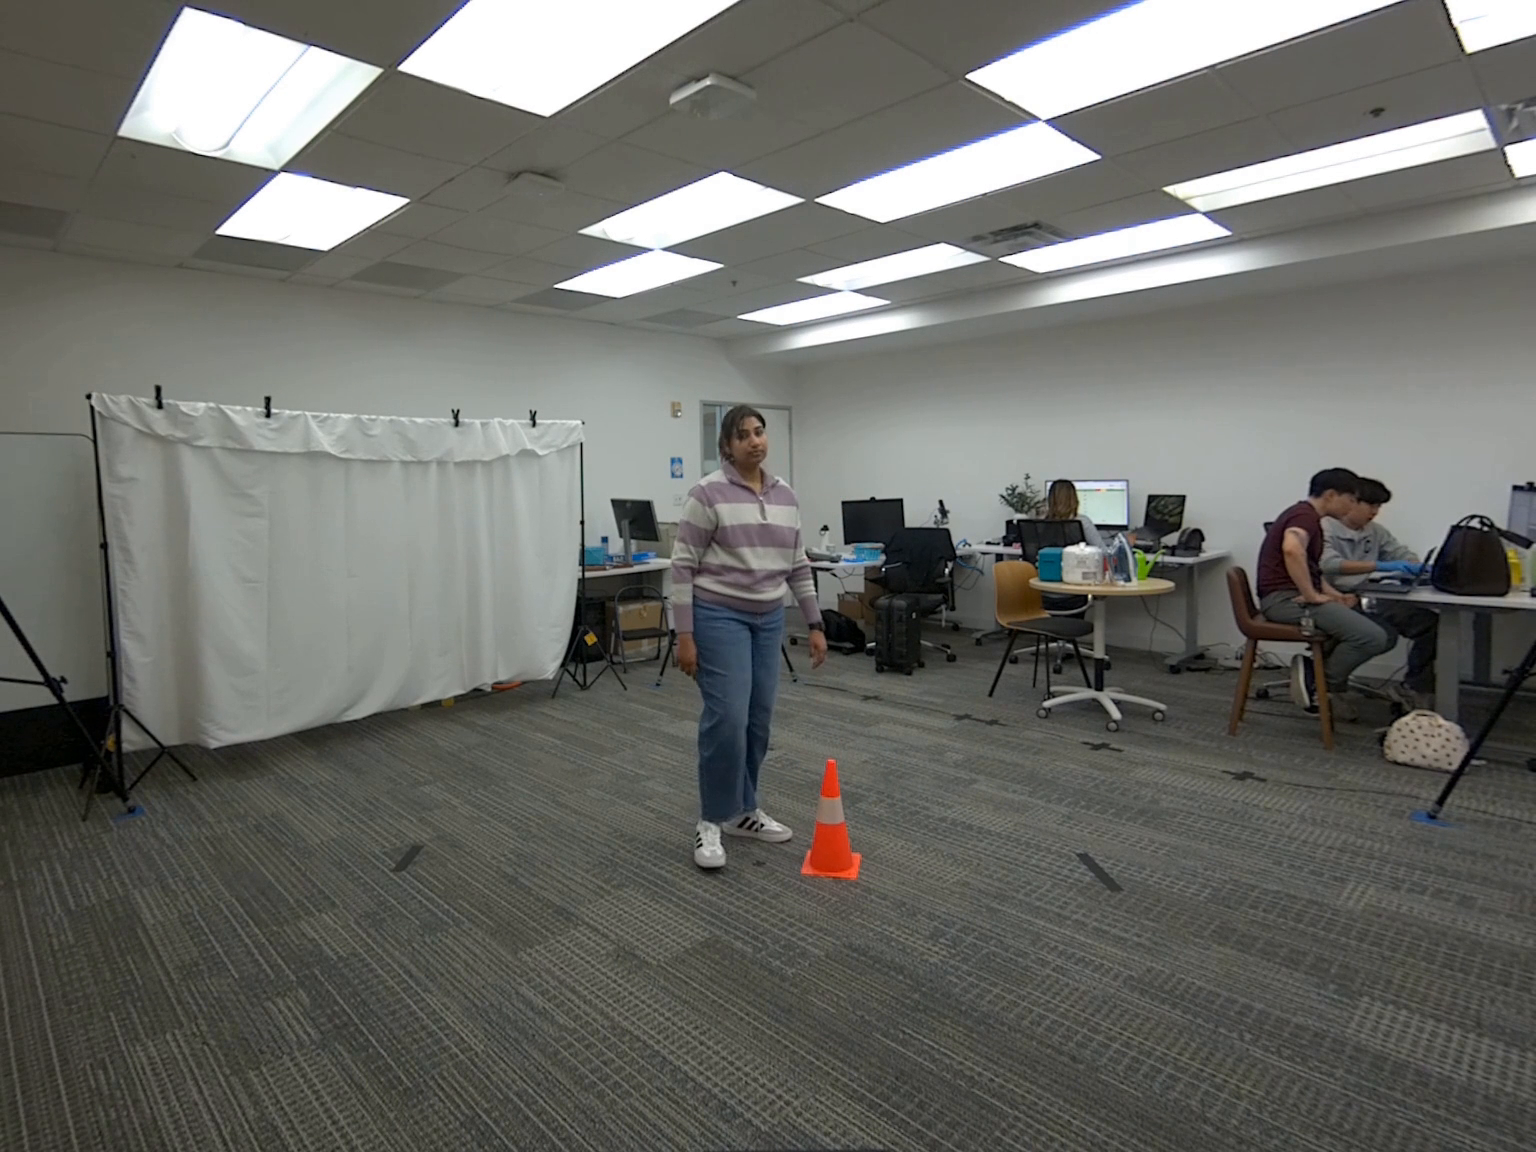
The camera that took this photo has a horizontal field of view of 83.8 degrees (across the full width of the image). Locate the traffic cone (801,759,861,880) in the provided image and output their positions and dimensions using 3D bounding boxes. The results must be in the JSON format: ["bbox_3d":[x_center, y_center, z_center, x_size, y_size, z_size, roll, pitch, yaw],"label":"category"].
[{"bbox_3d":[0.228,0.859,3.087,0.206,0.383,0.203,1,3,13],"label":"traffic cone"}]
